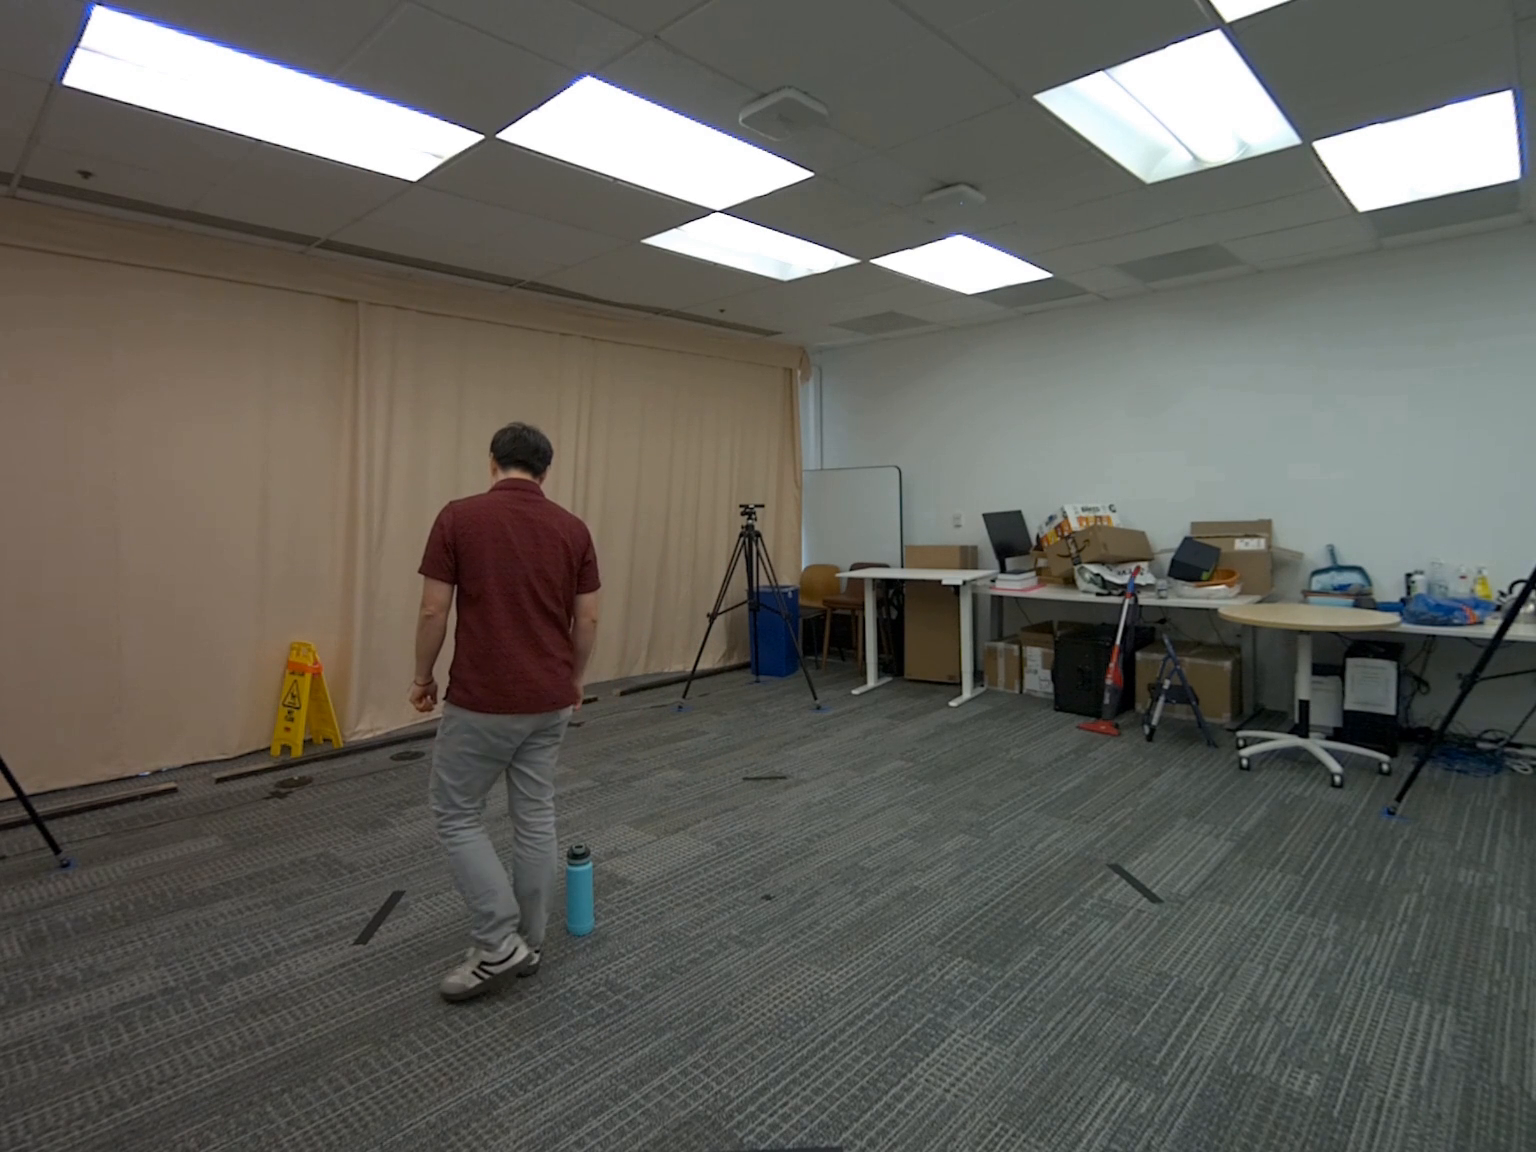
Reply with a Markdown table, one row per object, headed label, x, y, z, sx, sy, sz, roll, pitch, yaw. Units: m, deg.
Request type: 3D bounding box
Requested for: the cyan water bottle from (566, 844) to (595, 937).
| label | x | y | z | sx | sy | sz | roll | pitch | yaw |
| --- | --- | --- | --- | --- | --- | --- | --- | --- | --- |
| cyan water bottle | -0.627 | 1.033 | 2.779 | 0.092 | 0.283 | 0.092 | -1 | 2 | -2 |
